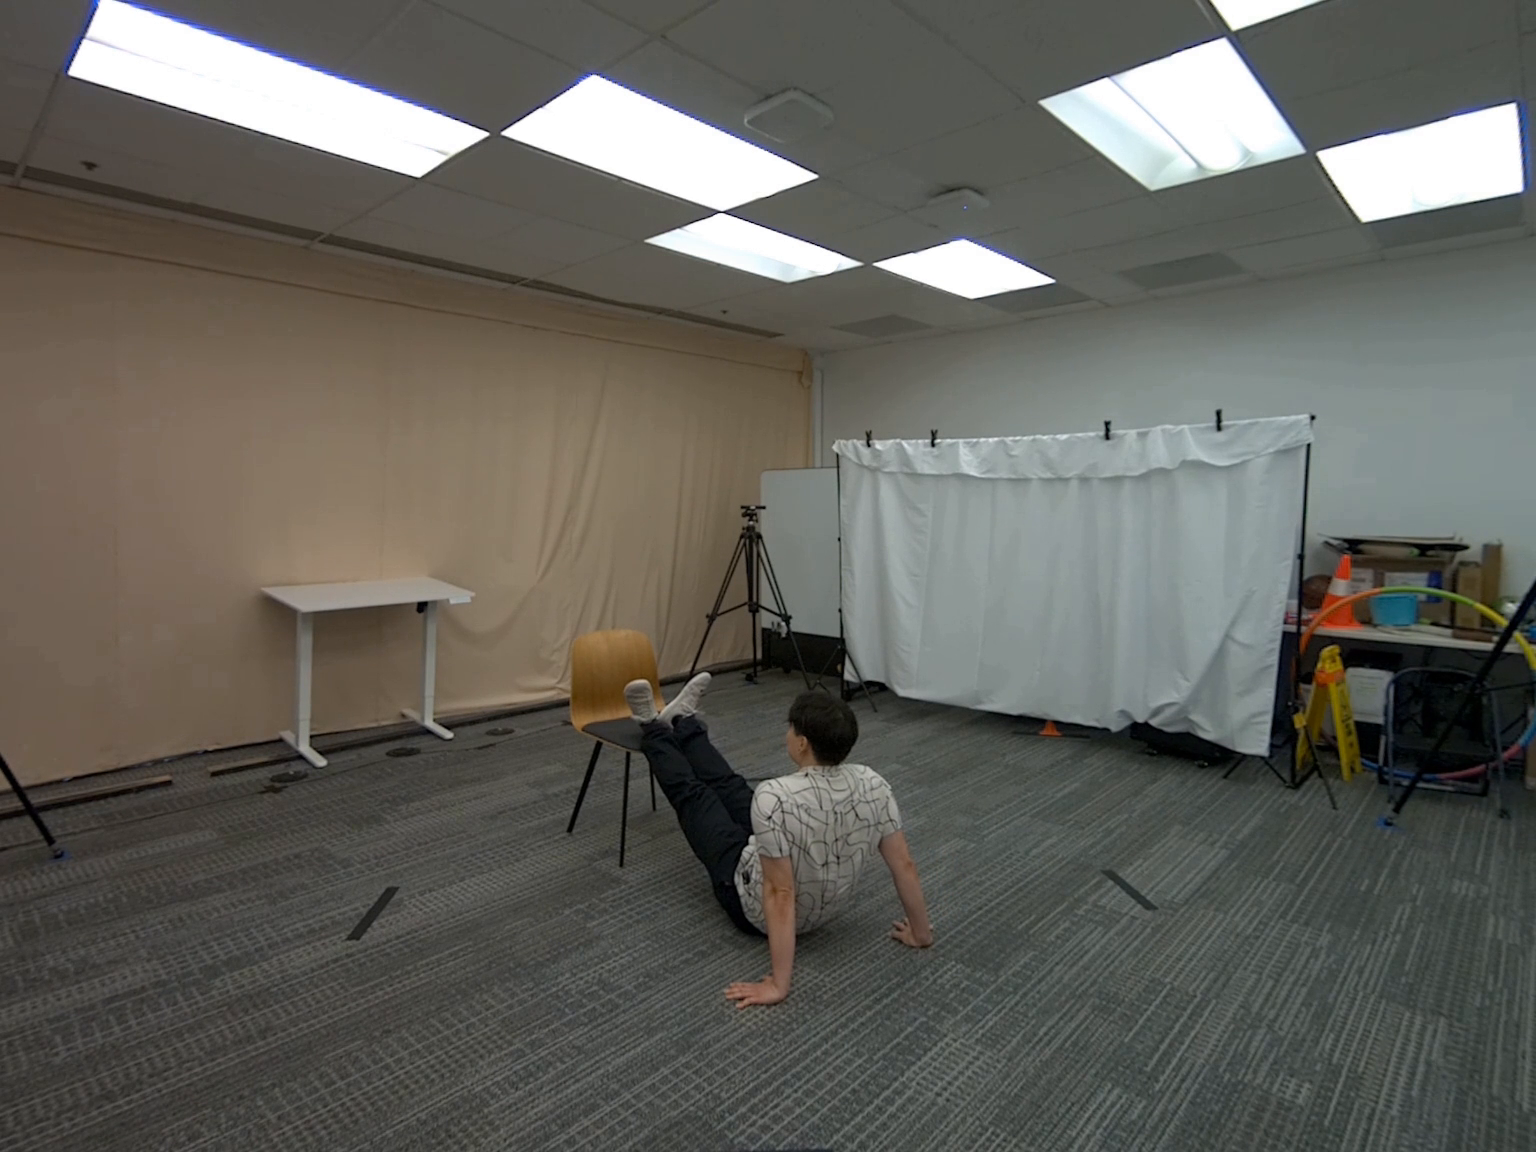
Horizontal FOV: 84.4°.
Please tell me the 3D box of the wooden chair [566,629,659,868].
[{"bbox_3d":[-0.543,0.673,3.529,0.464,0.878,0.539,-3,-1,-39],"label":"wooden chair"}]
